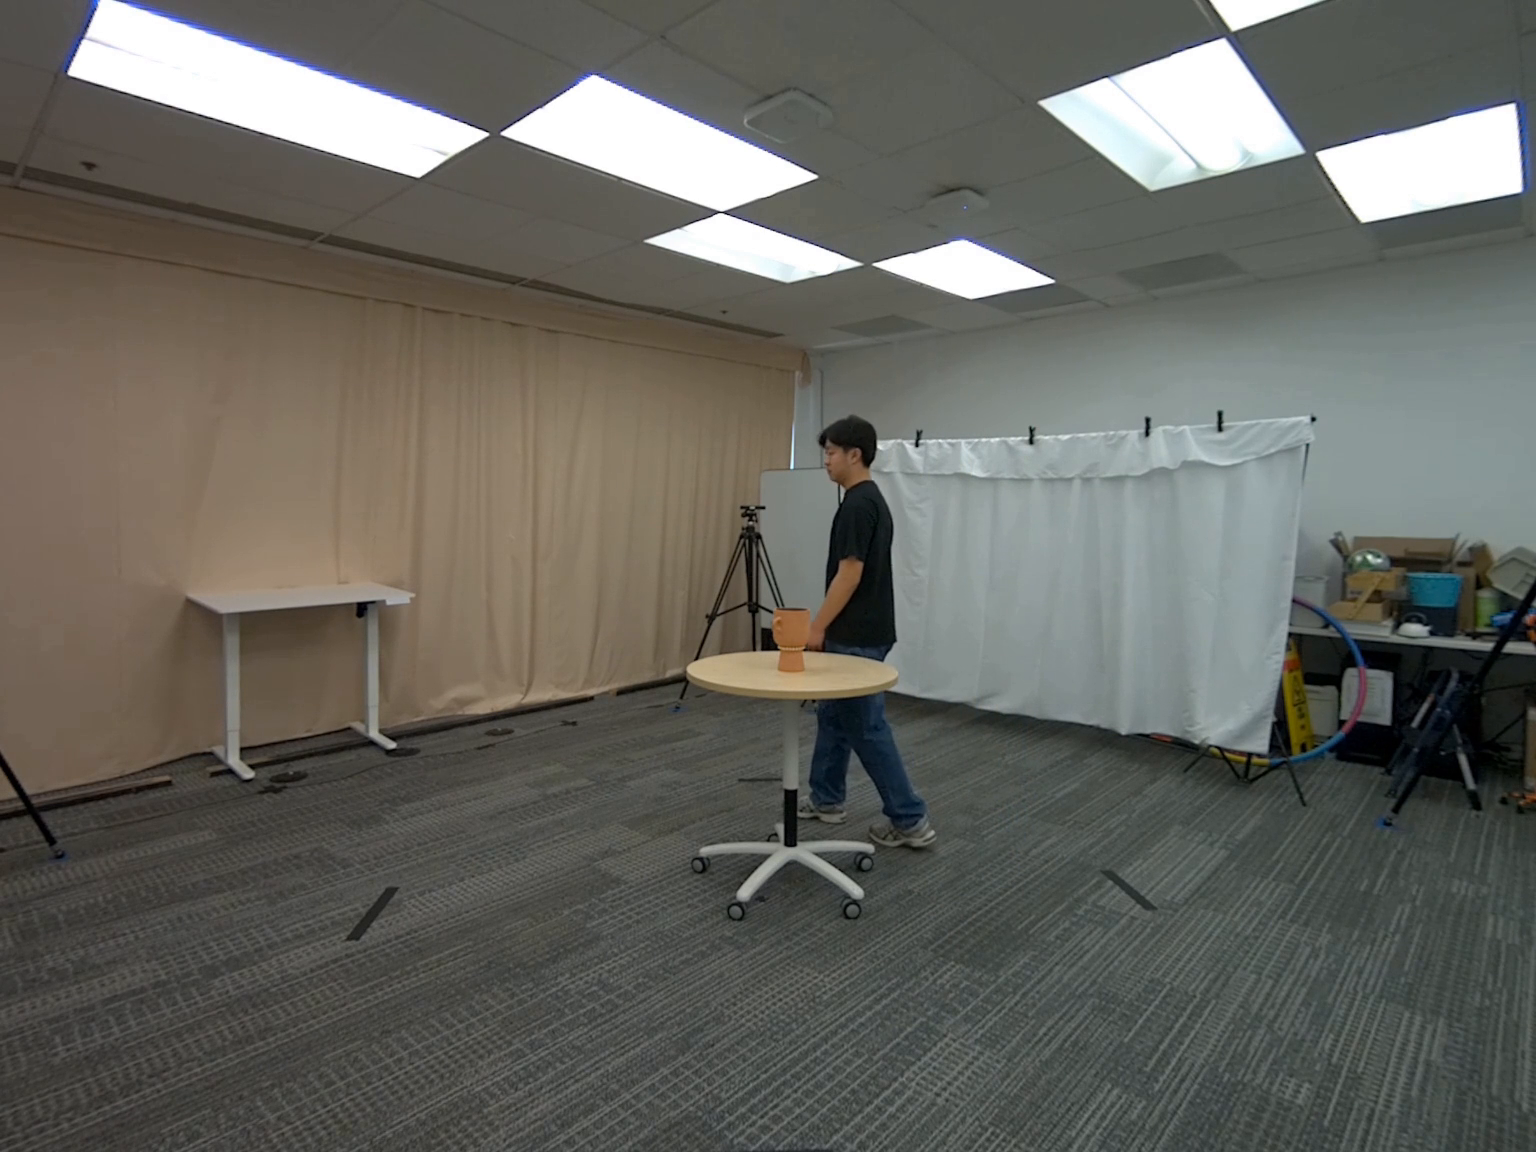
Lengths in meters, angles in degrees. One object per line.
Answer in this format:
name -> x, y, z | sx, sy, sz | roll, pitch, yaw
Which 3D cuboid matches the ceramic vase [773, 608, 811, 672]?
ceramic vase -> 0.091, 0.234, 3.050 | 0.158, 0.219, 0.135 | 0, 3, -5
